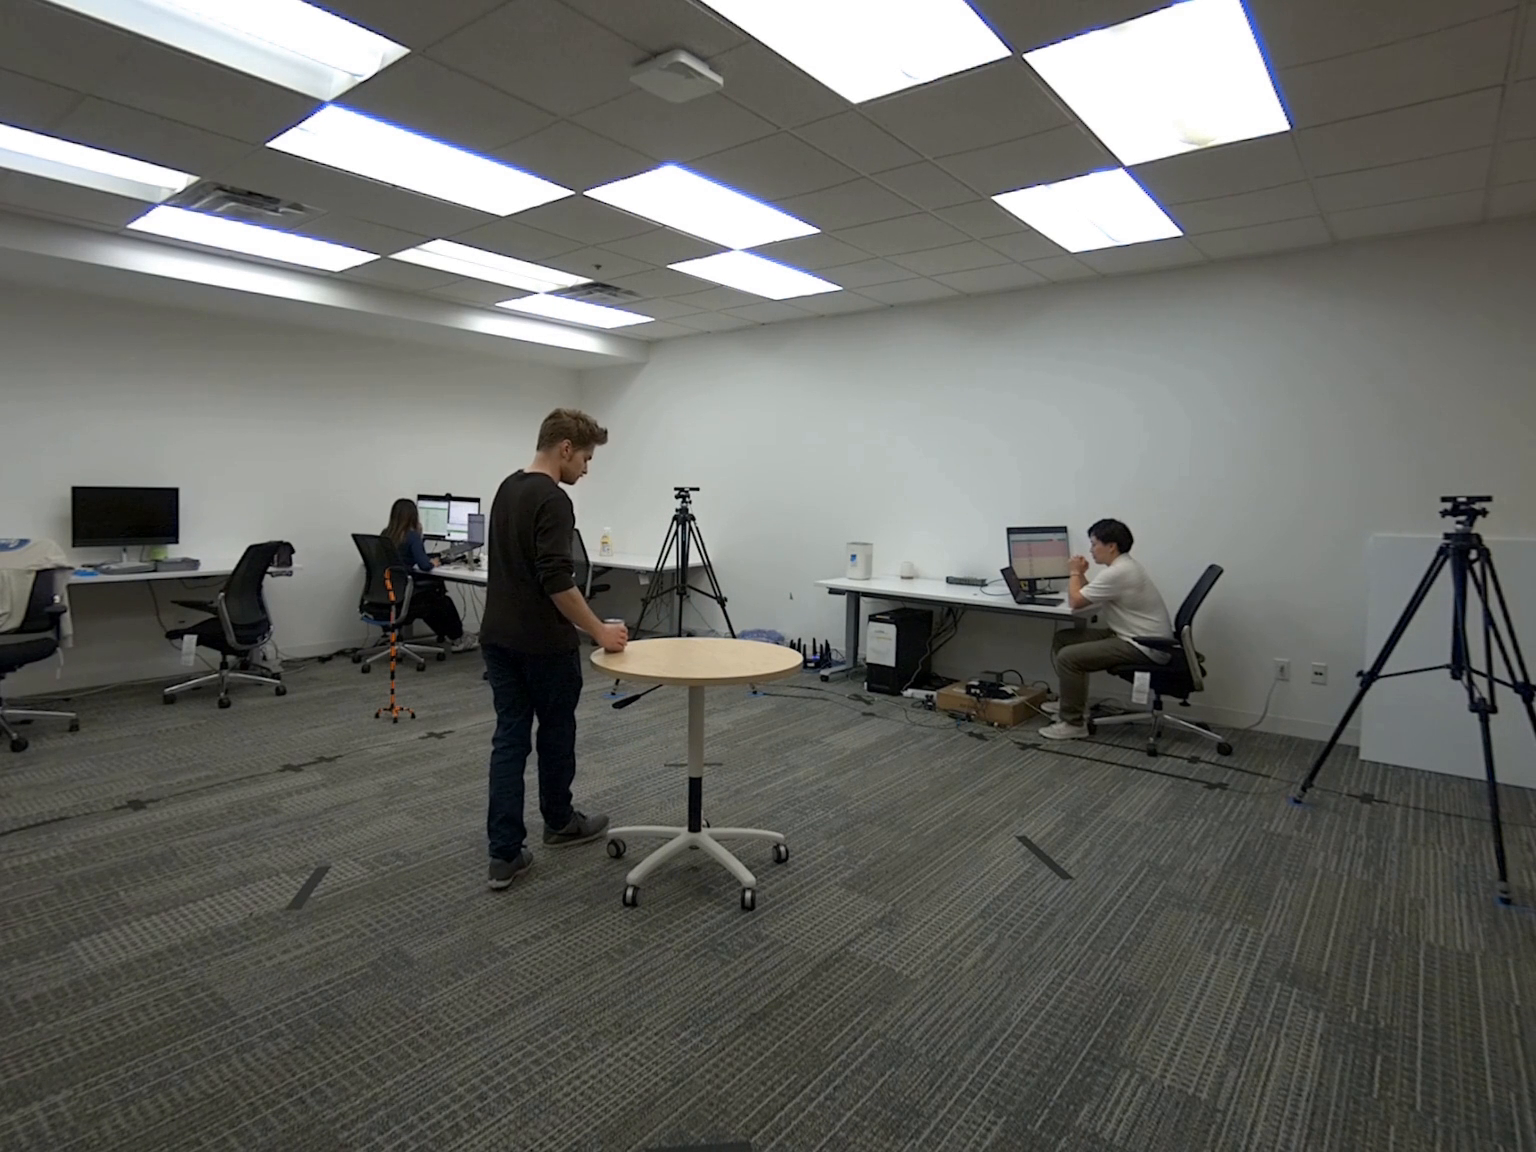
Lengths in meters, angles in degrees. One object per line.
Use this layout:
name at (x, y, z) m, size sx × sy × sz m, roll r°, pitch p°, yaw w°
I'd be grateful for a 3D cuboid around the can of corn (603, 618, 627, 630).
can of corn at (-0.583, 0.219, 3.144) m, size 0.074 × 0.111 × 0.074 m, roll 1°, pitch 4°, yaw -2°
